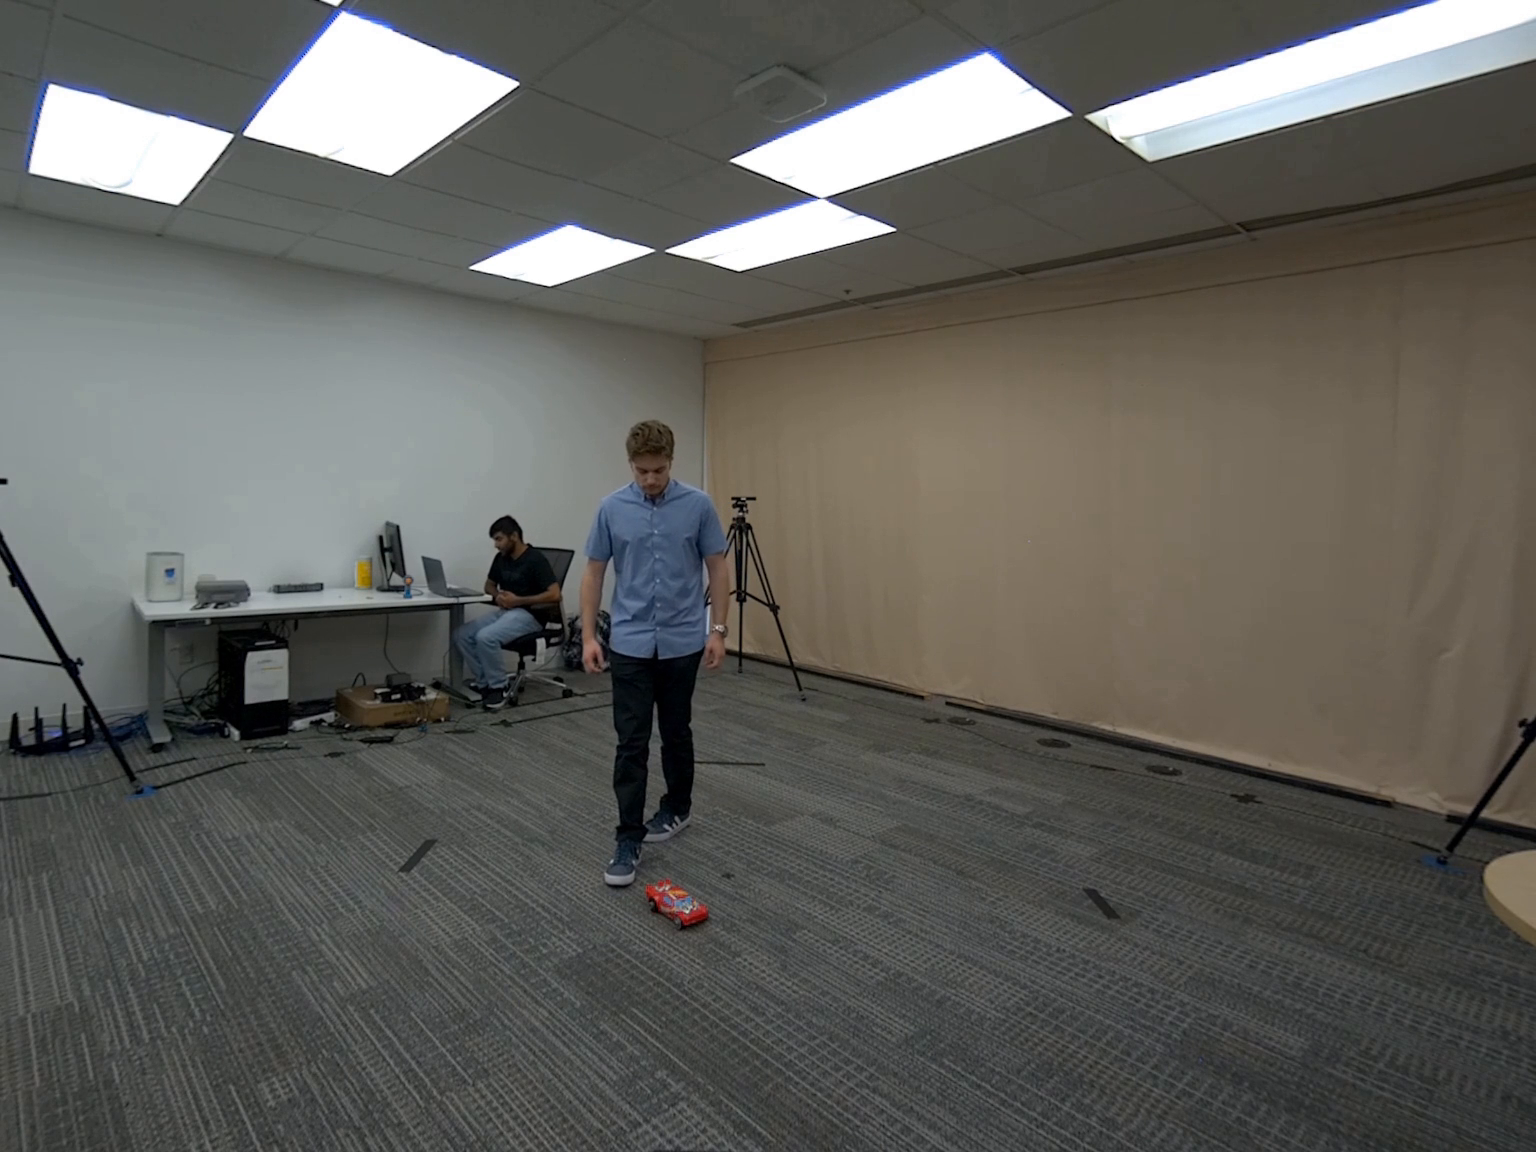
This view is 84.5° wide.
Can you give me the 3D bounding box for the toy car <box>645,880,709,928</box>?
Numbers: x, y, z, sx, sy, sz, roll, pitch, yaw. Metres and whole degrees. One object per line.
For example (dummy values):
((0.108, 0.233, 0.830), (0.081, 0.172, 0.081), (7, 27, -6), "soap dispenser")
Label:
((-0.319, 1.097, 2.813), (0.127, 0.082, 0.262), (-3, 17, -39), "toy car")
